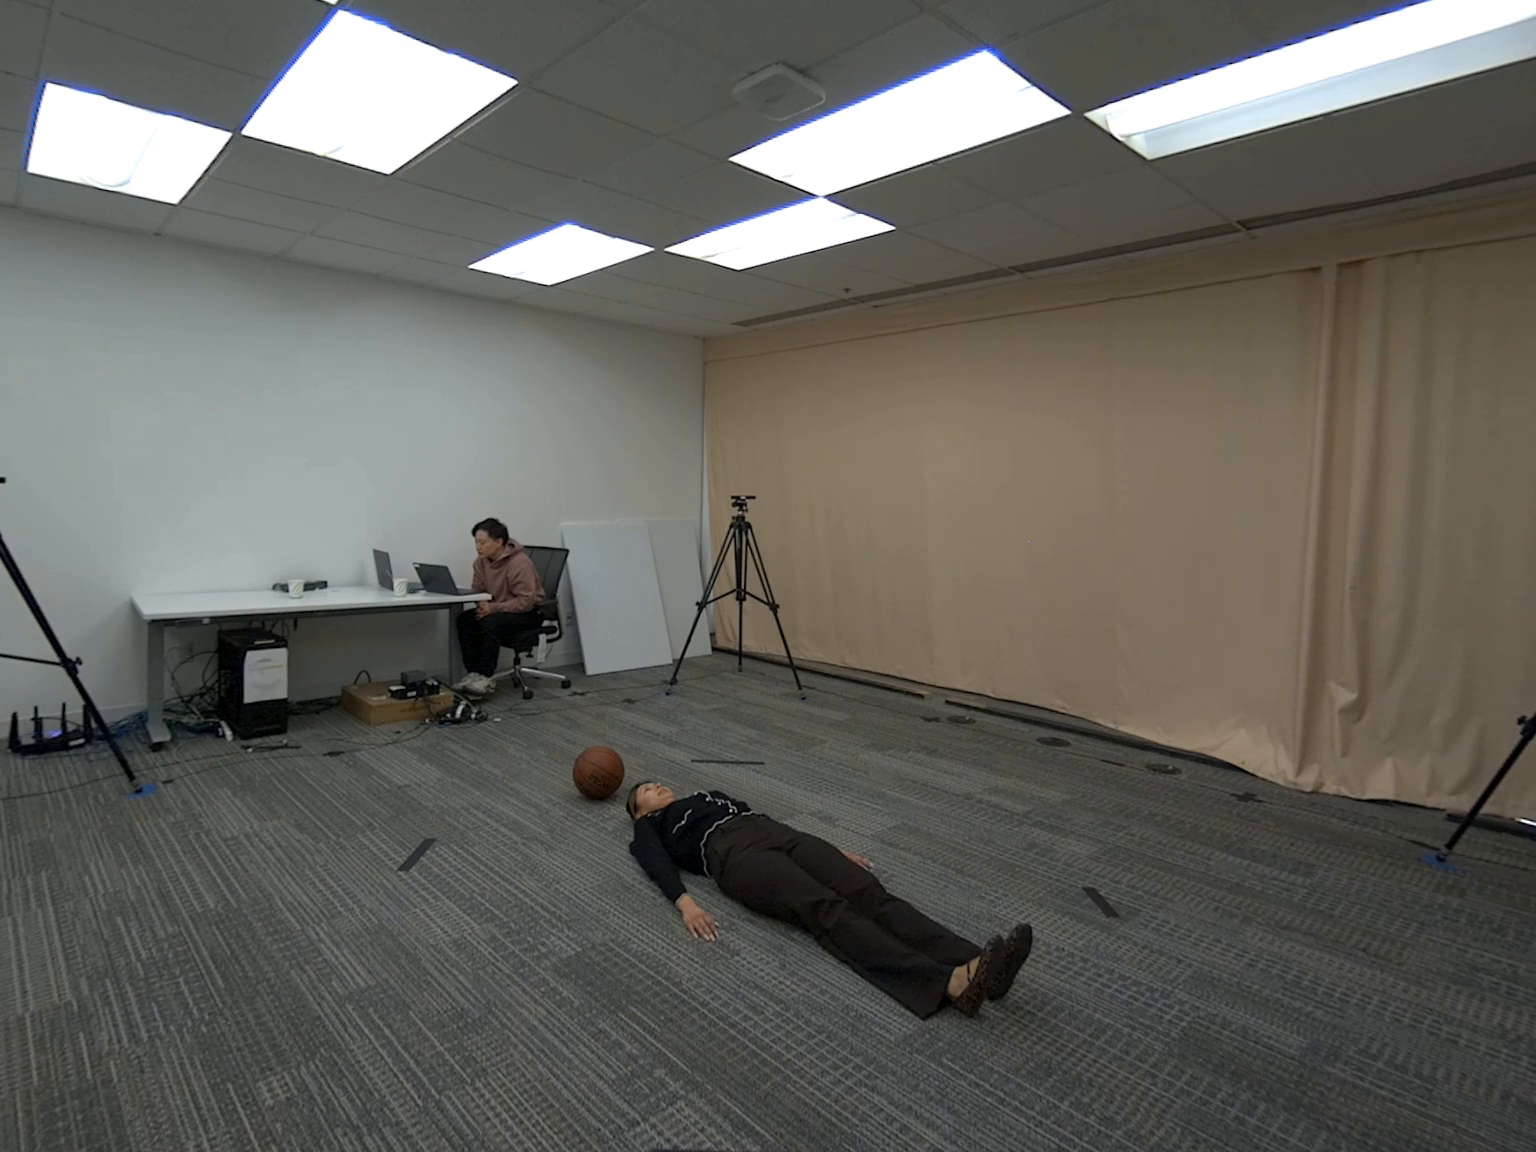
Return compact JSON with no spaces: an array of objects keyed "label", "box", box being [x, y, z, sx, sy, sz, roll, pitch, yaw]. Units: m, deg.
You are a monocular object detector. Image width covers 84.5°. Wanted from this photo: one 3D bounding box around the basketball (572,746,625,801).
[{"label":"basketball","box":[-0.786,0.899,3.871,0.236,0.235,0.237,1,4,-1]}]
